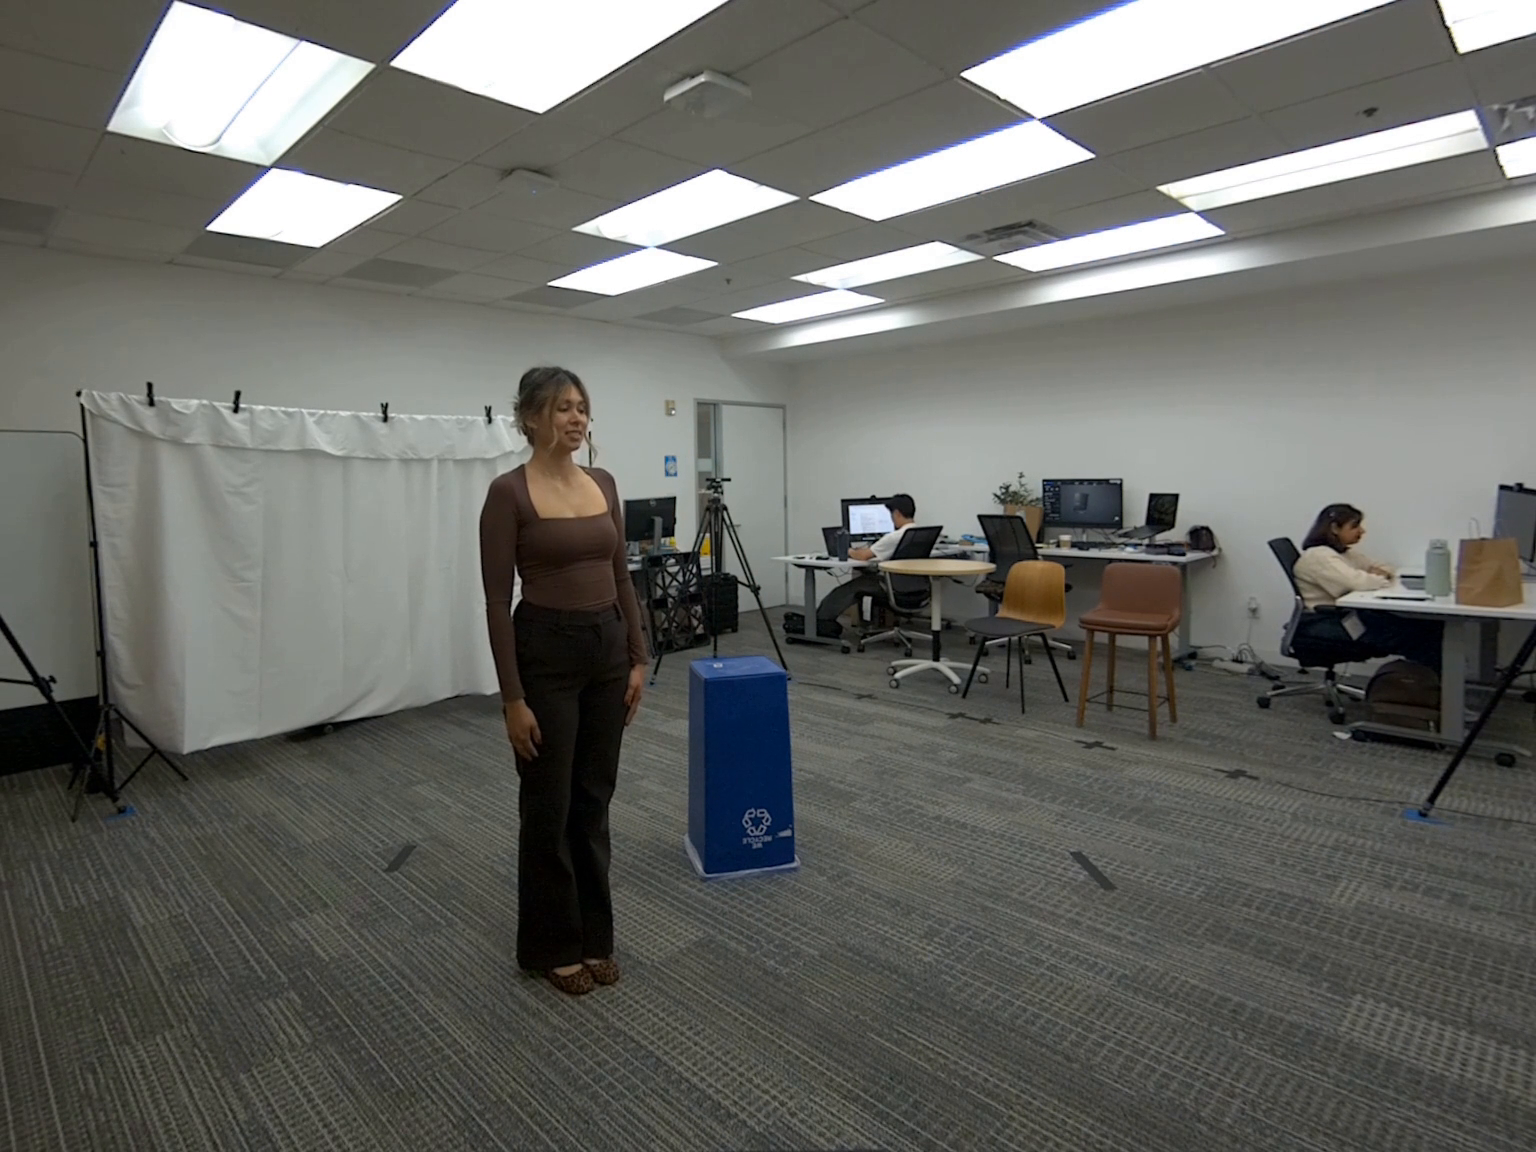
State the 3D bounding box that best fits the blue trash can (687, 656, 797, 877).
[{"bbox_3d":[-0.114,0.683,3.157,0.369,0.711,0.384,-3,5,-14],"label":"blue trash can"}]
